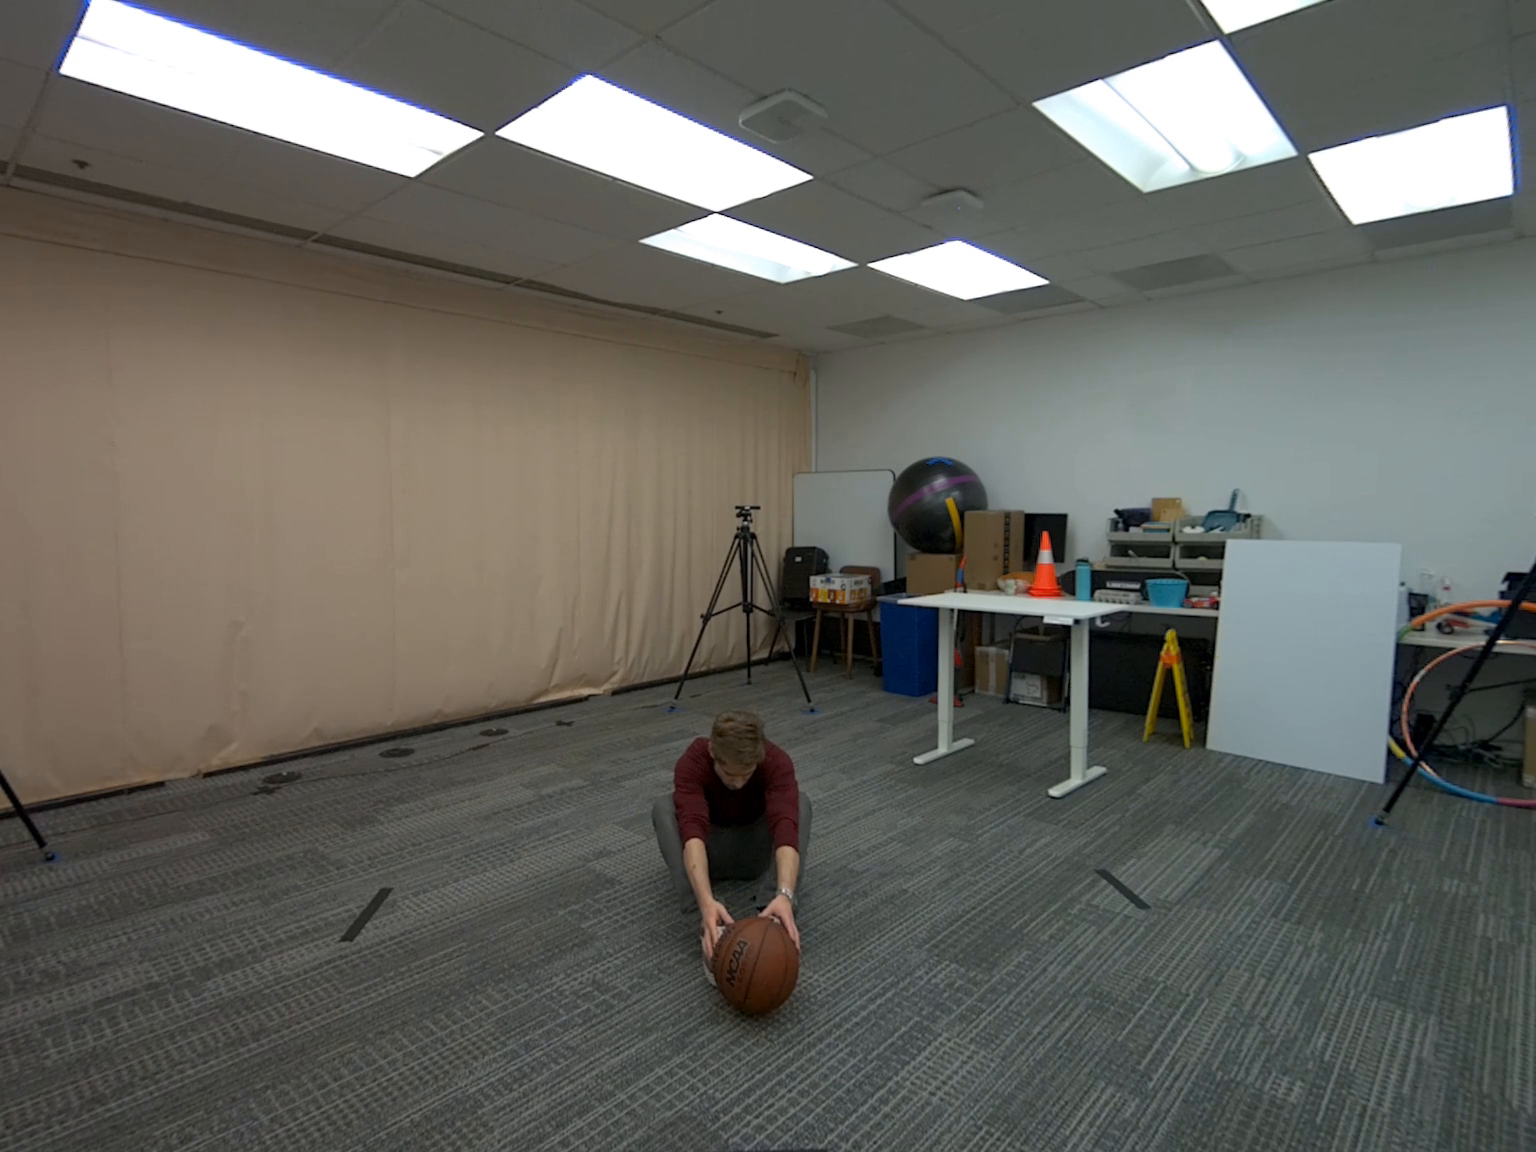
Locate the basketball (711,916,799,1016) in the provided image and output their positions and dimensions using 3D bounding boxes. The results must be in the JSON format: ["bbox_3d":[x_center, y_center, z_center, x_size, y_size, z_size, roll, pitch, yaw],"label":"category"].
[{"bbox_3d":[-0.028,1.061,2.318,0.236,0.235,0.237,0,4,-2],"label":"basketball"}]
